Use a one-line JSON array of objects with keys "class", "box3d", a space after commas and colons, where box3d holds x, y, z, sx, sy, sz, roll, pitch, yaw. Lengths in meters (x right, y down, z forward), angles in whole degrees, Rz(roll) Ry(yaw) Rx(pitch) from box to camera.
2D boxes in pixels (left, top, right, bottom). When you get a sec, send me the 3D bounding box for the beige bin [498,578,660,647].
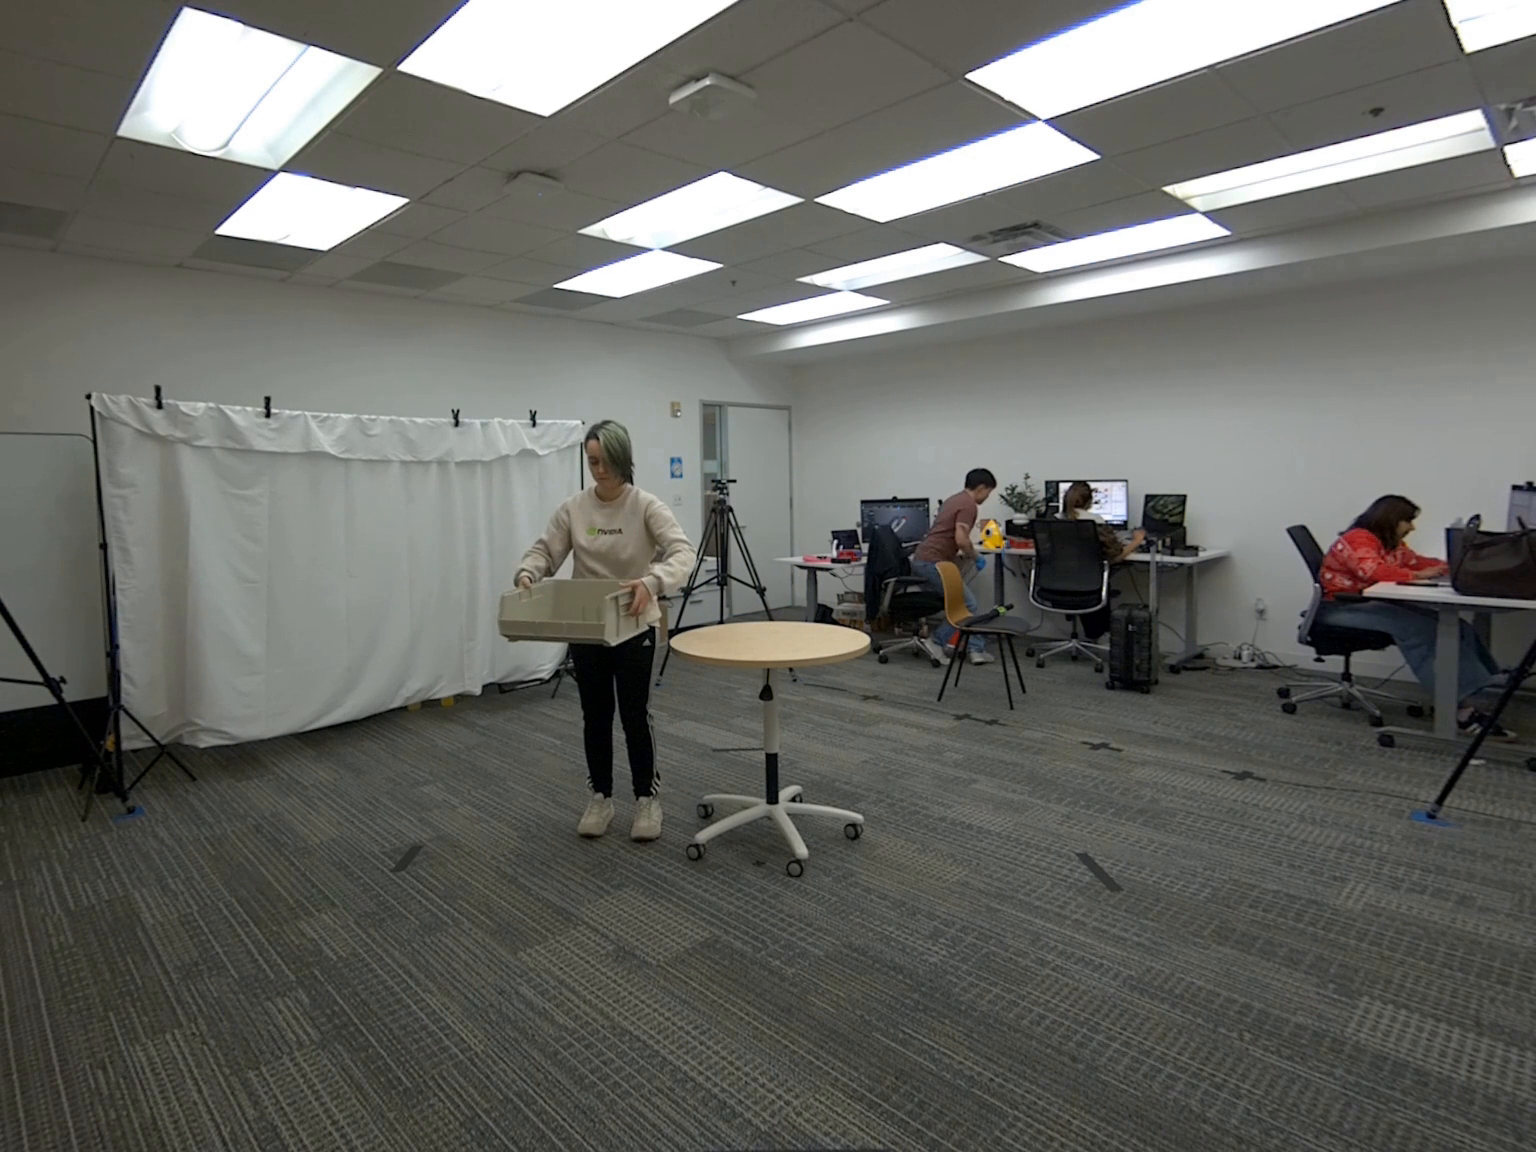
[{"class": "beige bin", "box3d": [-0.694, 0.135, 3.073, 0.430, 0.188, 0.372, -2, 6, 19]}]
